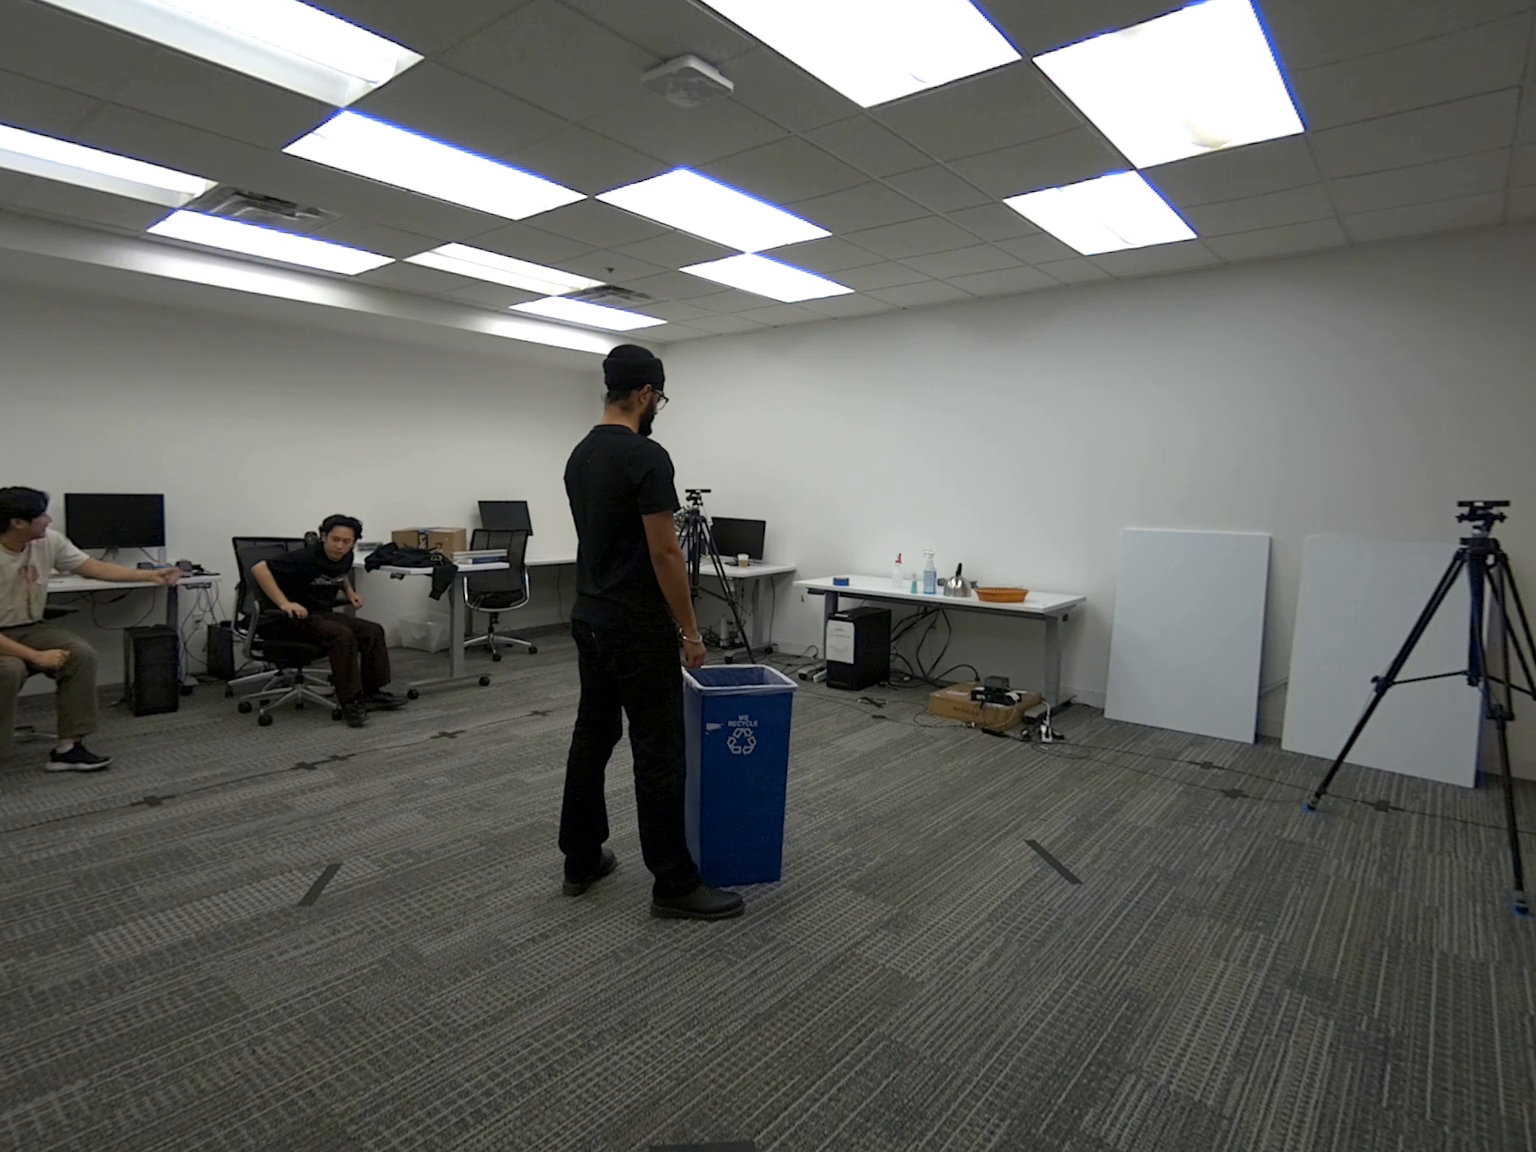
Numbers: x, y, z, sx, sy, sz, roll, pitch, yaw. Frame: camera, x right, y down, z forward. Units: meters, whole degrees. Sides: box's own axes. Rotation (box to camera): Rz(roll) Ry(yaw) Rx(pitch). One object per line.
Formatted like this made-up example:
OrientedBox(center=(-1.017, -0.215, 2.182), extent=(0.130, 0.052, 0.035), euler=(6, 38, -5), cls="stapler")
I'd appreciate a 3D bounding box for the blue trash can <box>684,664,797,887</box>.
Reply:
OrientedBox(center=(-0.143, 0.715, 3.117), extent=(0.368, 0.712, 0.386), euler=(1, 3, -17), cls="blue trash can")
